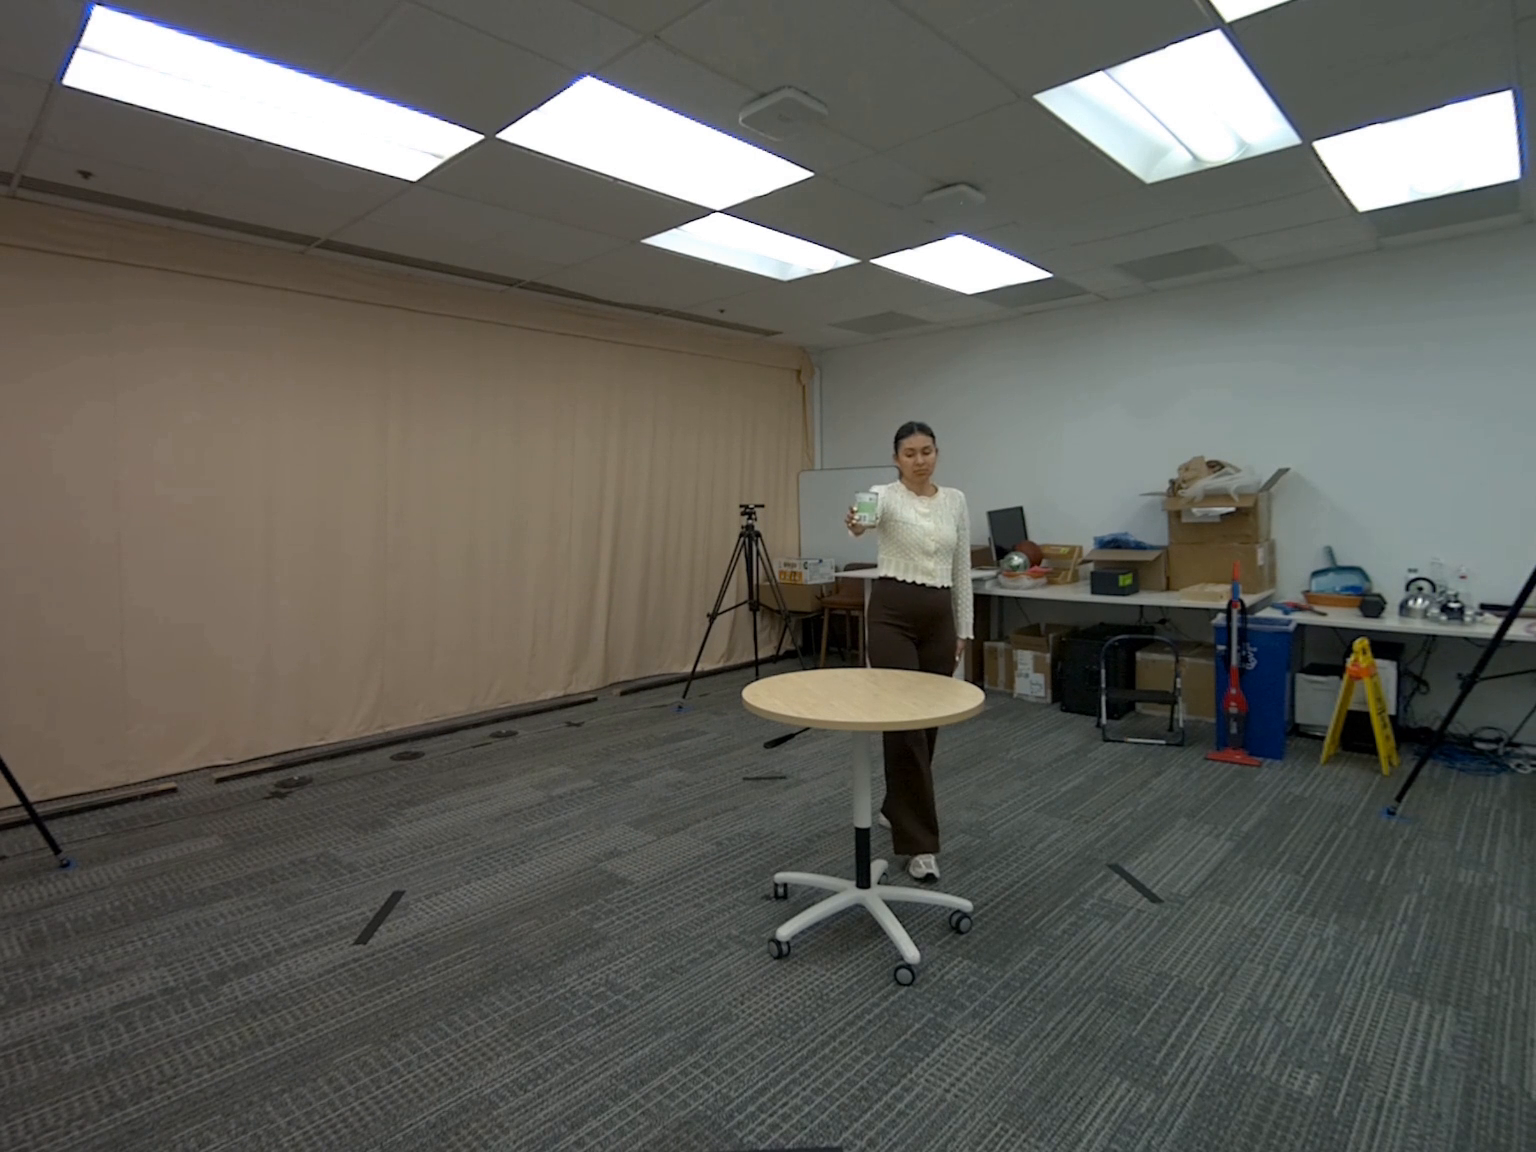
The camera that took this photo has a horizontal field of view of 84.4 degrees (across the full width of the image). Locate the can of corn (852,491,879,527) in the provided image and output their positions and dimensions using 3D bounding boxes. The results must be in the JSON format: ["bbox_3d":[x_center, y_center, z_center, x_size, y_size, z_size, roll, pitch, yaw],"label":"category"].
[{"bbox_3d":[0.318,-0.213,2.726,0.074,0.111,0.074,2,0,-2],"label":"can of corn"}]
